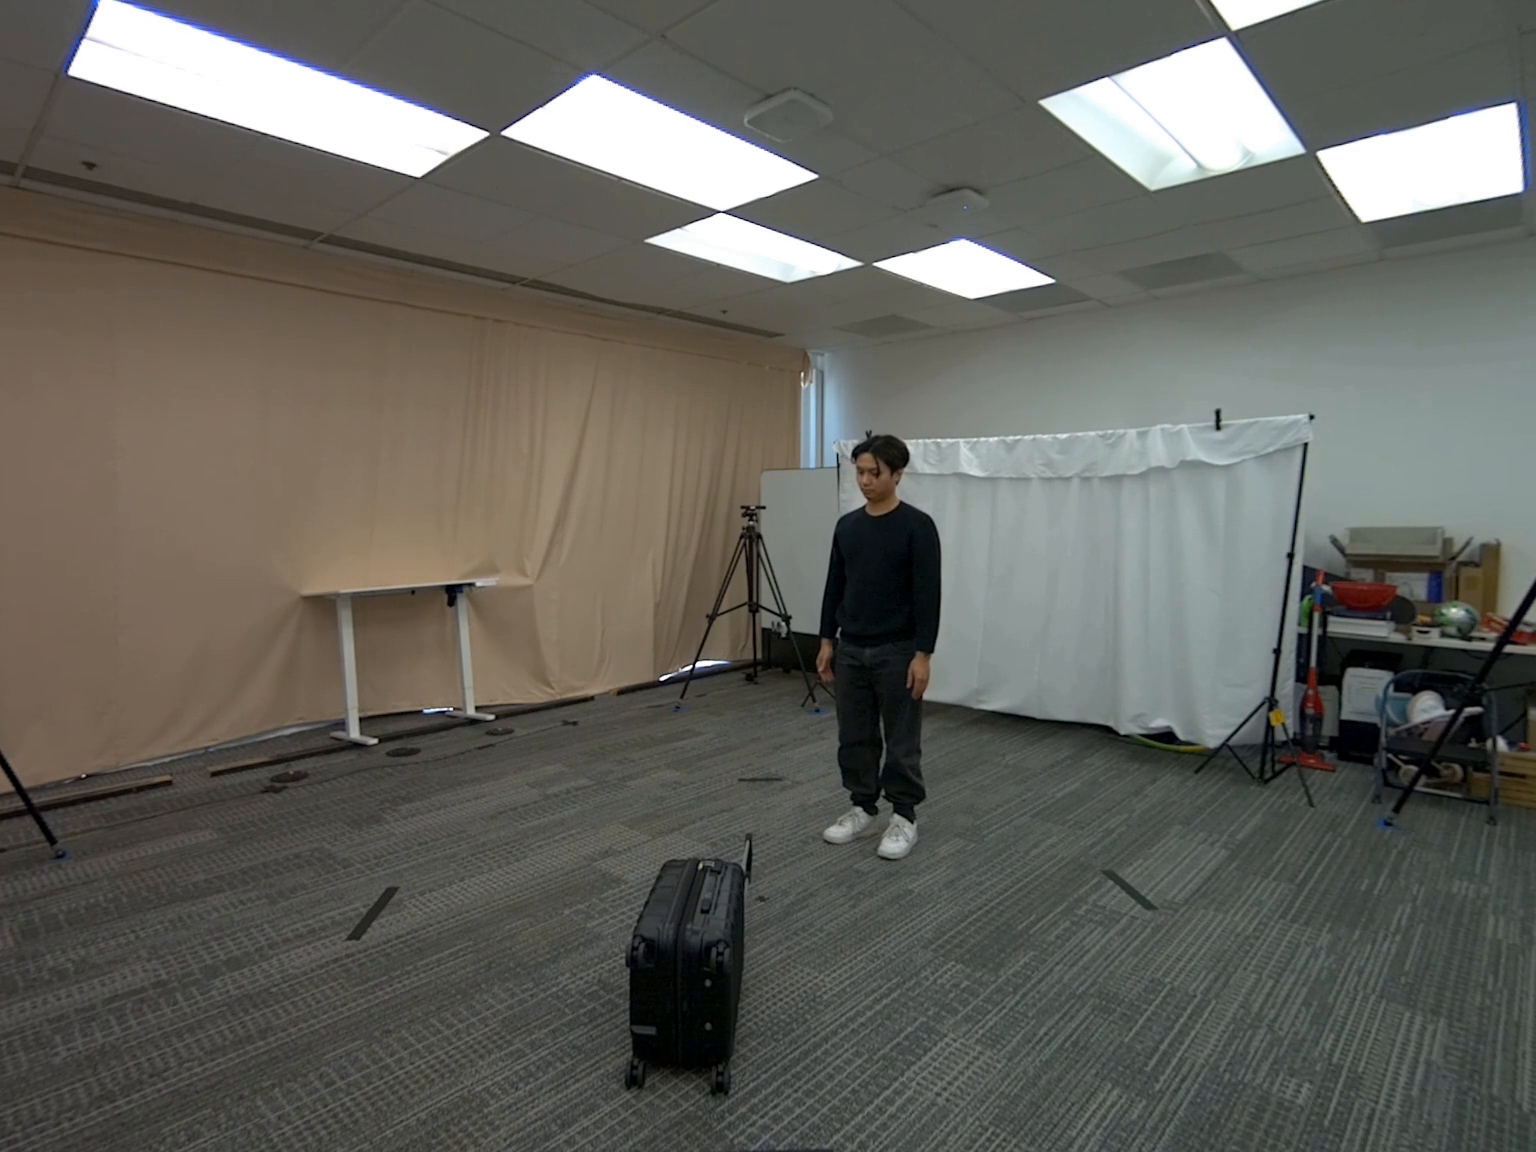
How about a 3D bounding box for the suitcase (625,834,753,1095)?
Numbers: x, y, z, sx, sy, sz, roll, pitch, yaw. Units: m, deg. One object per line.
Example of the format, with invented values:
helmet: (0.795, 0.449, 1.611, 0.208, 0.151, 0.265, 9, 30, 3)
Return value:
suitcase: (-0.195, 1.000, 2.461, 0.258, 0.383, 0.977, 0, 4, 2)
